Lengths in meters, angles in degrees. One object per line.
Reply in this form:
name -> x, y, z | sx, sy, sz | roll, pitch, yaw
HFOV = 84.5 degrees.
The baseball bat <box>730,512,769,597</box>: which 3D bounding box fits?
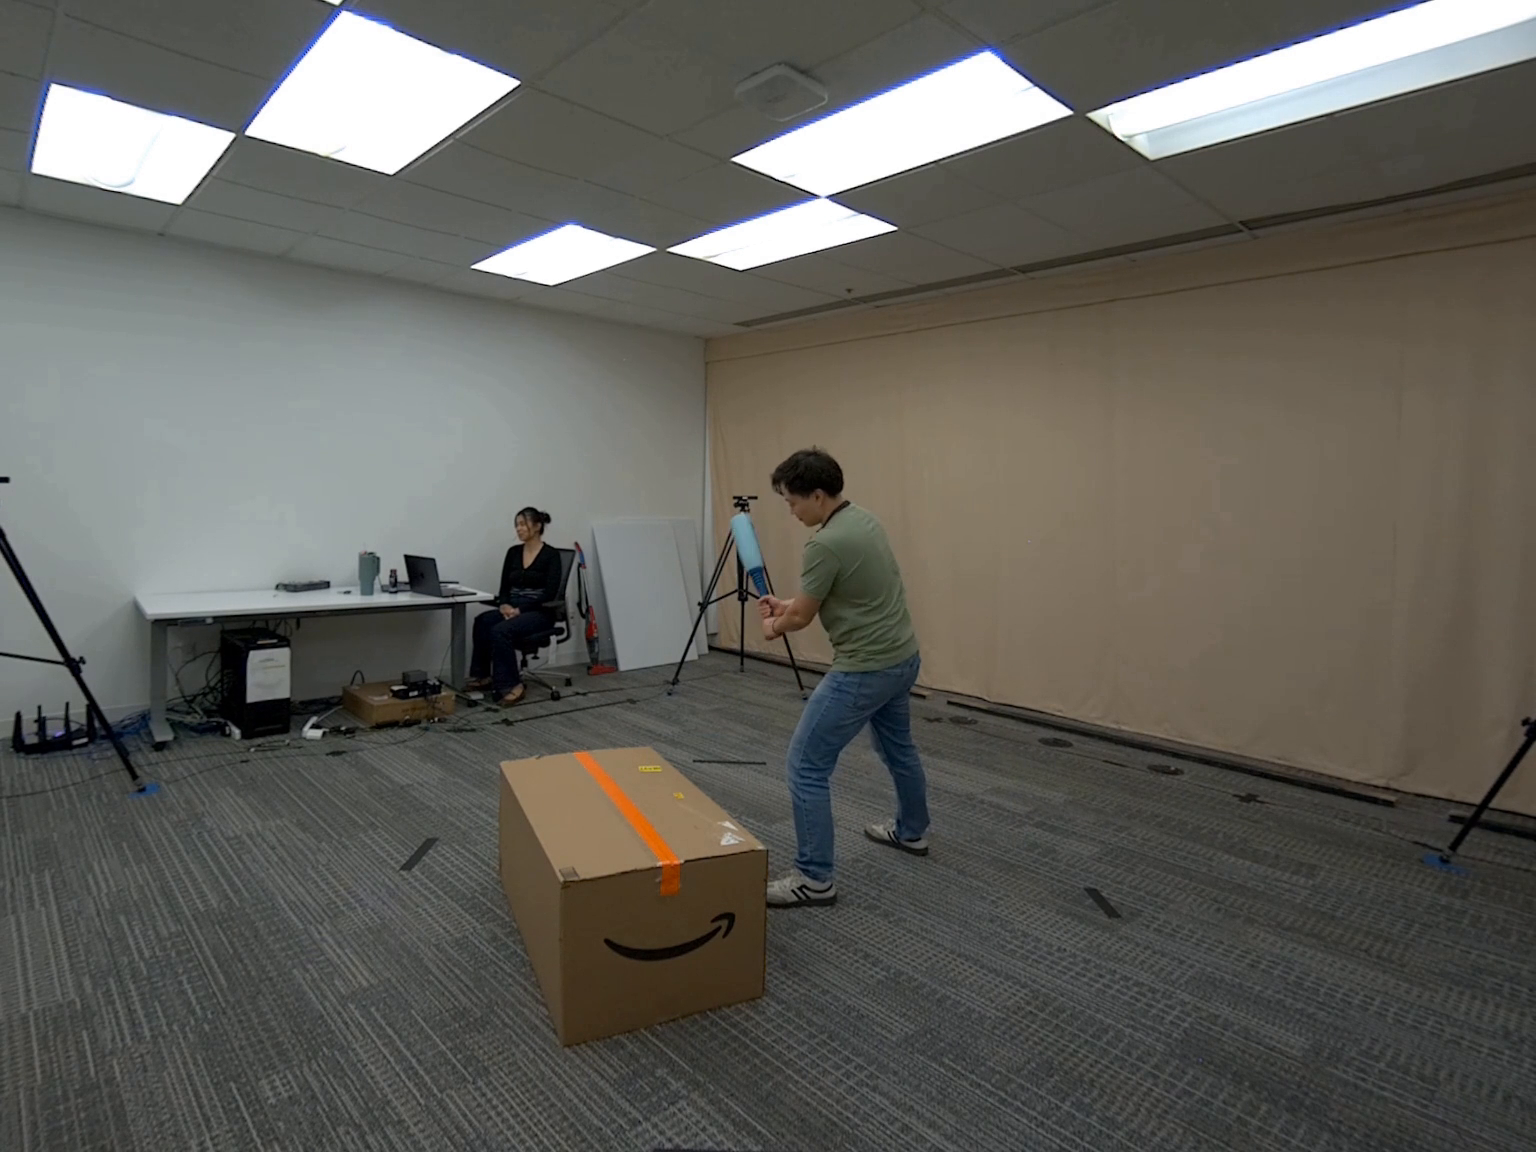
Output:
baseball bat -> -0.031, 0.009, 3.352 | 0.089, 0.555, 0.087 | -13, -25, -7
